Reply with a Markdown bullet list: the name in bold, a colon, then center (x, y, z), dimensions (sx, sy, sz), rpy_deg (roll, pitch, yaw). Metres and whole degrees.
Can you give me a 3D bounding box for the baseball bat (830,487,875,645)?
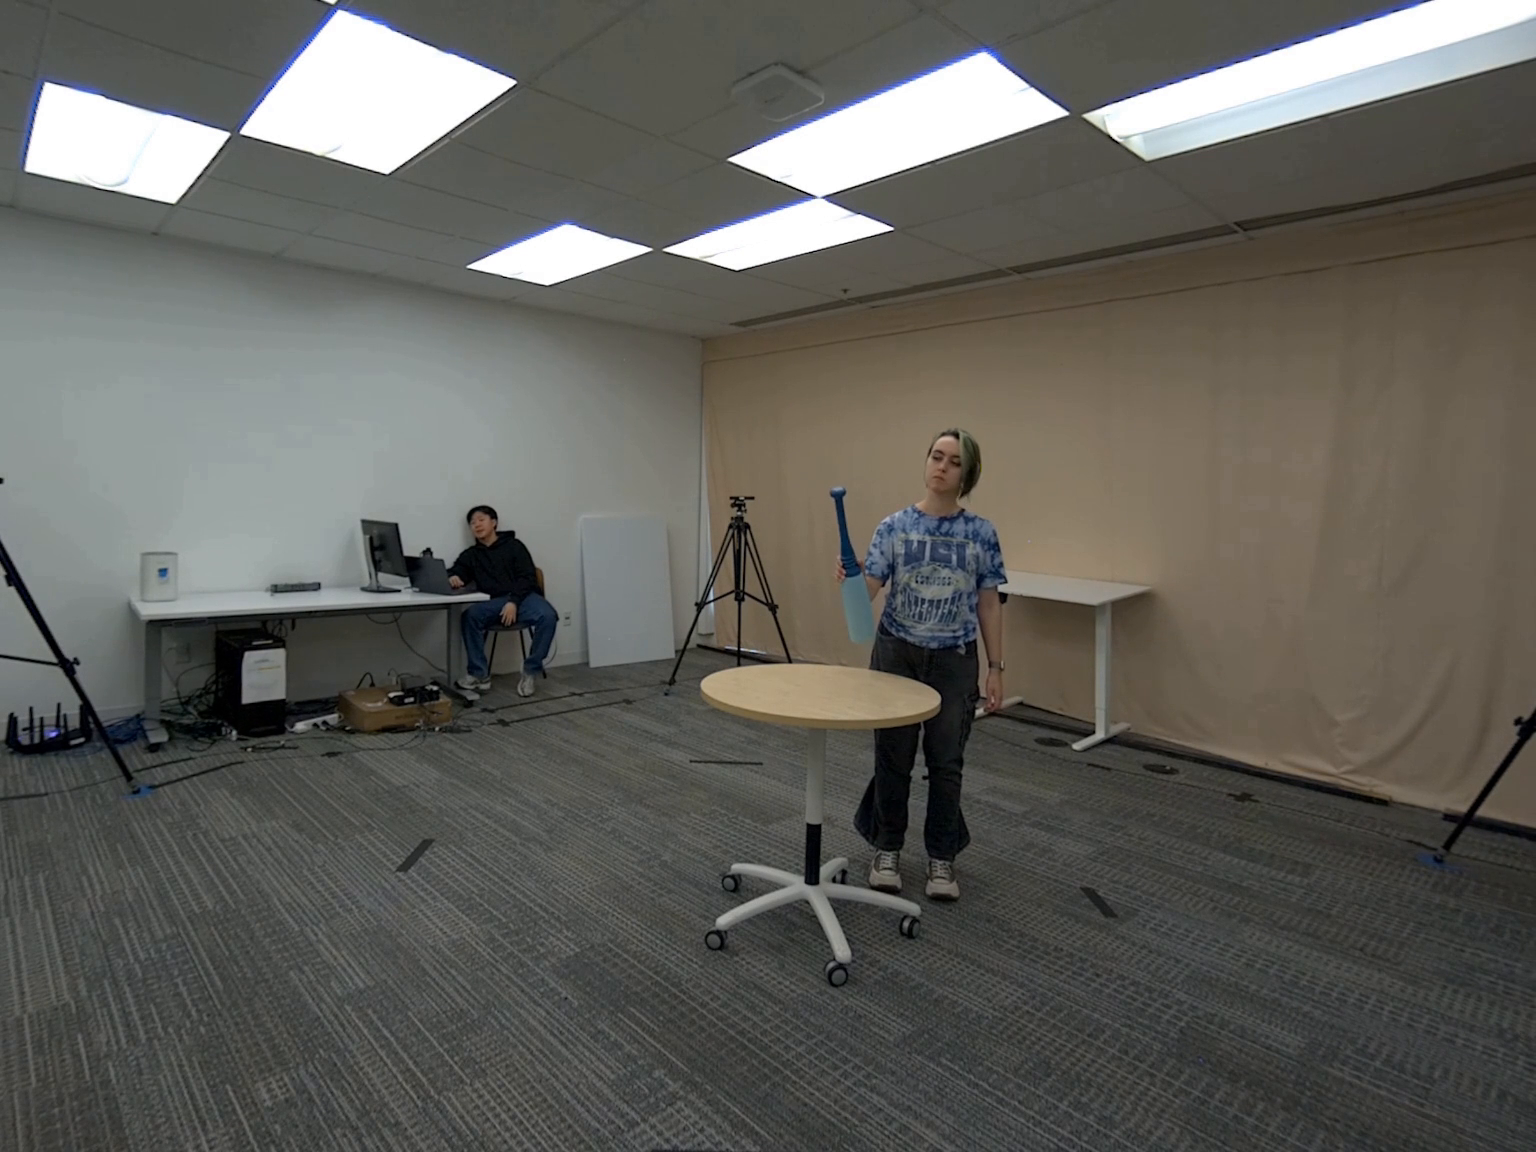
- **baseball bat**: center (0.265, -0.022, 2.697), dimensions (0.089, 0.533, 0.090), rpy_deg (-9, 23, 3)
